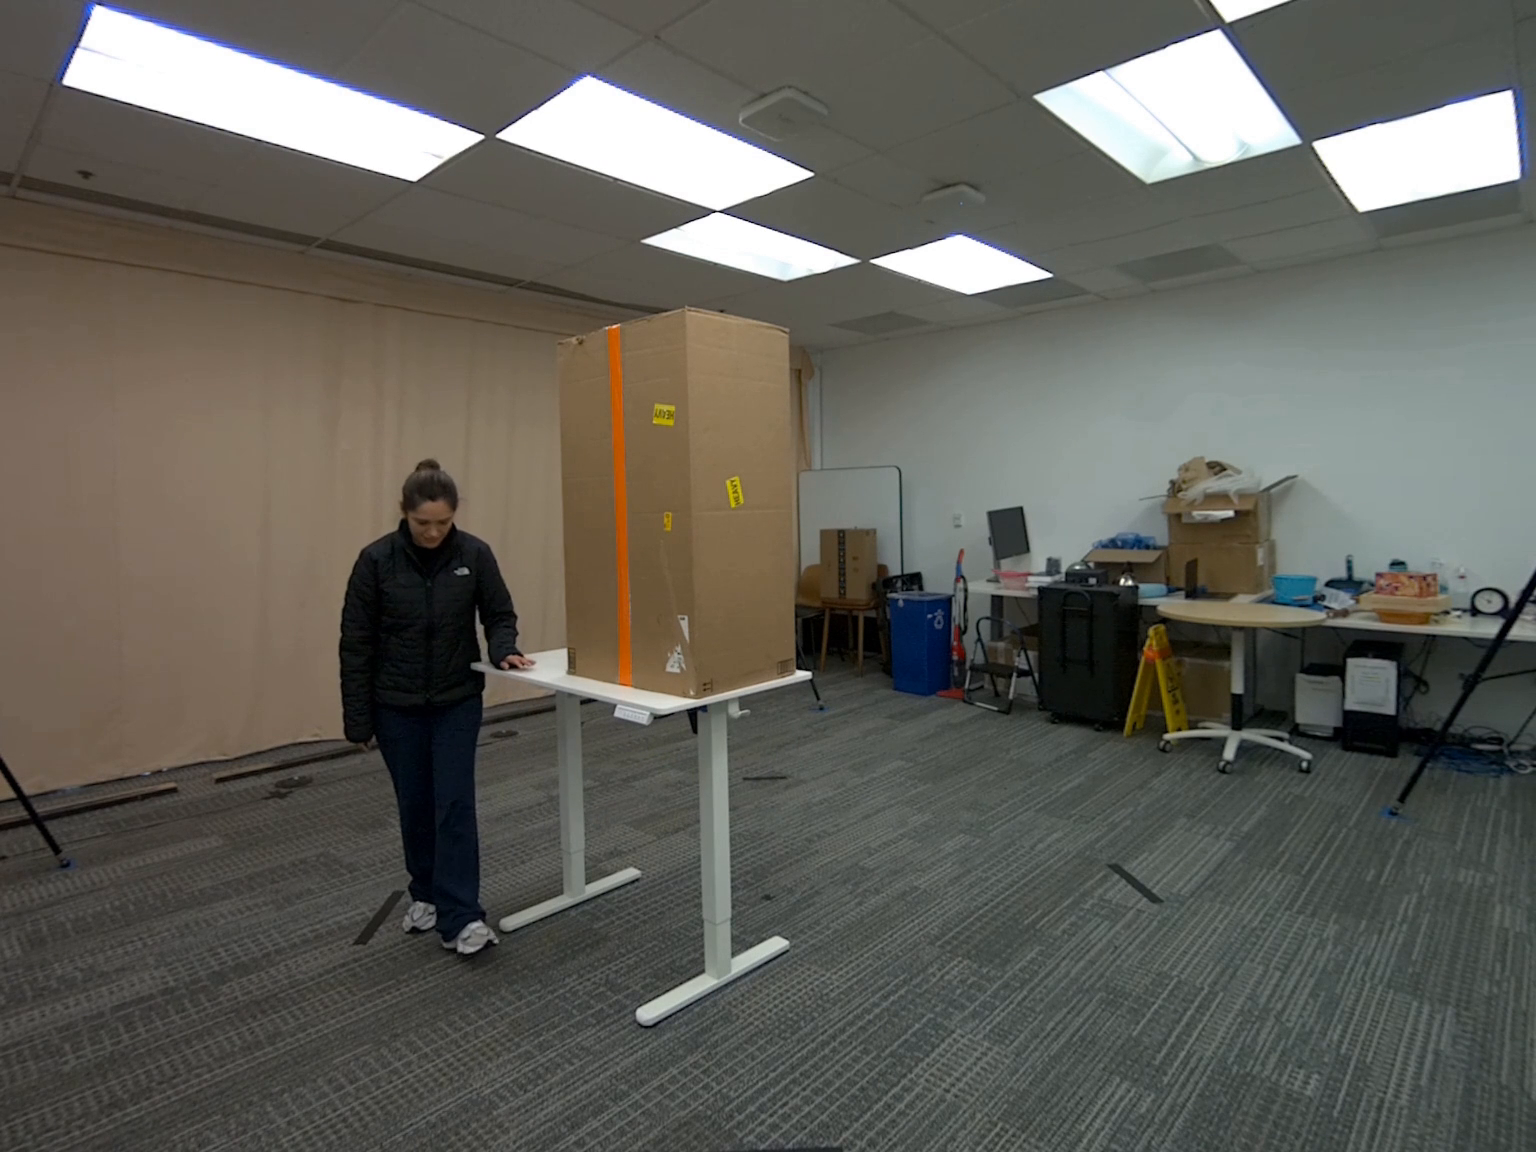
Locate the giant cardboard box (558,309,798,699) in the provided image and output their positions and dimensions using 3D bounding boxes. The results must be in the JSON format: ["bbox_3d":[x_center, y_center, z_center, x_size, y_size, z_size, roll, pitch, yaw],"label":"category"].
[{"bbox_3d":[-0.267,-0.207,2.533,0.596,1.023,0.413,2,4,42],"label":"giant cardboard box"}]
